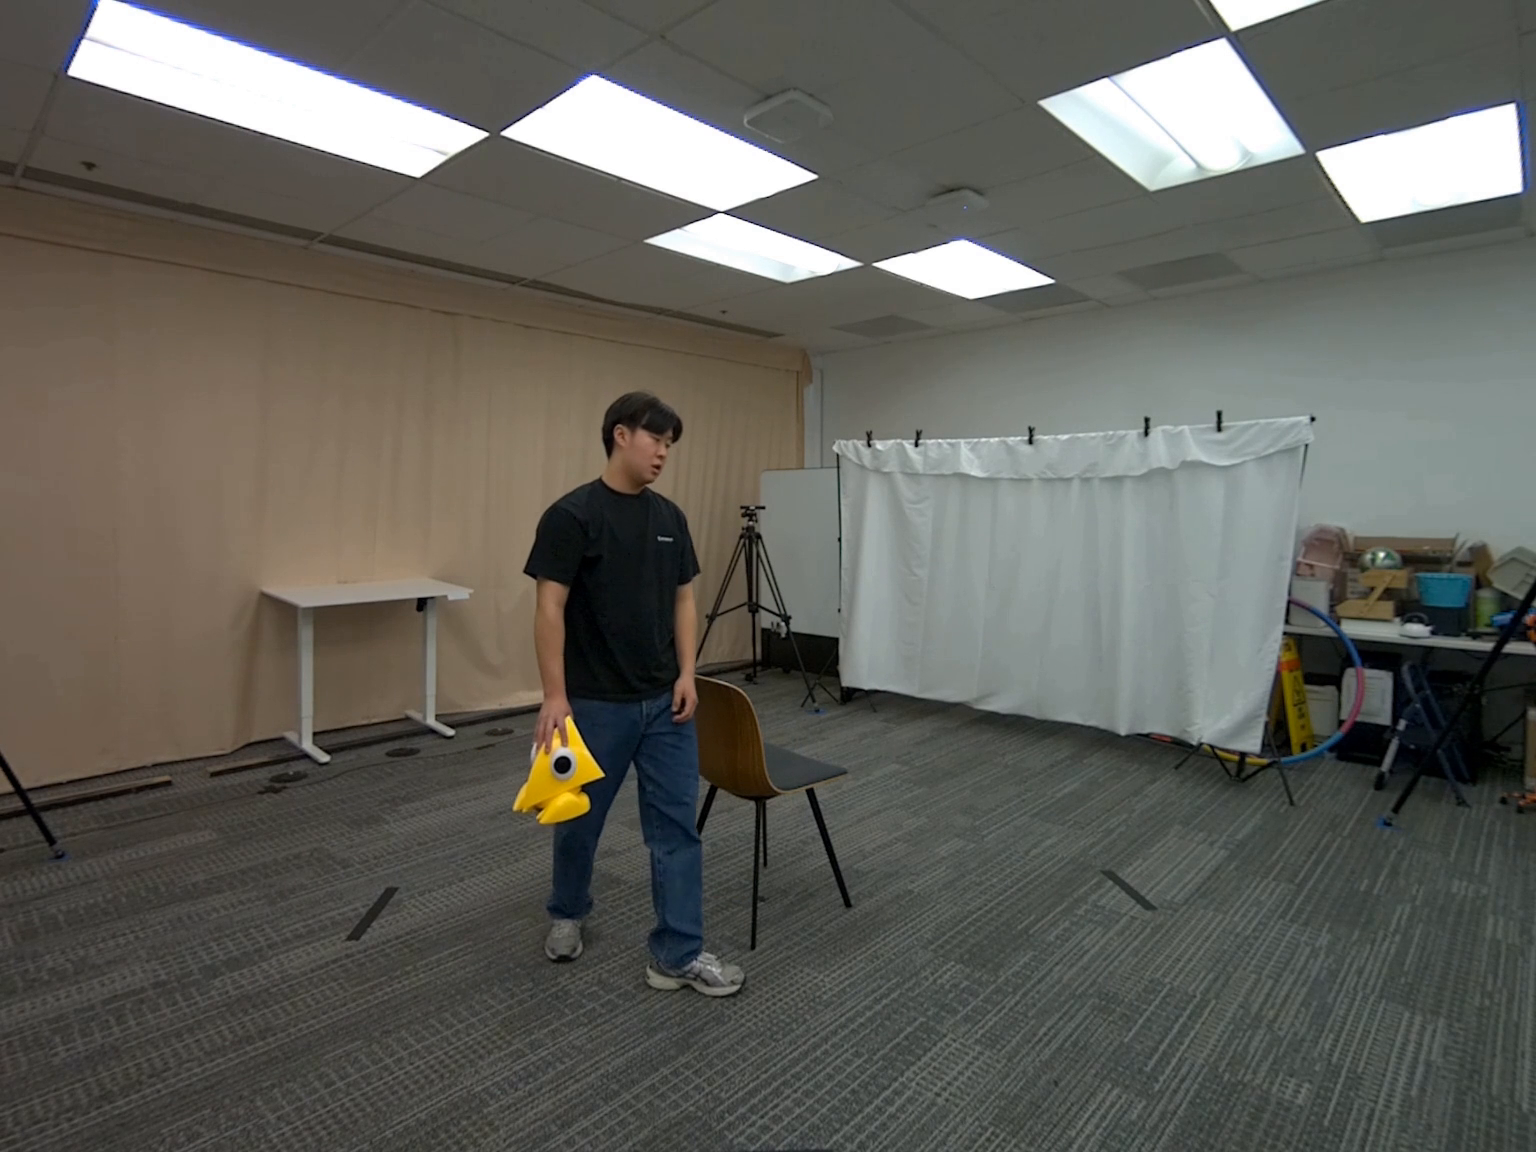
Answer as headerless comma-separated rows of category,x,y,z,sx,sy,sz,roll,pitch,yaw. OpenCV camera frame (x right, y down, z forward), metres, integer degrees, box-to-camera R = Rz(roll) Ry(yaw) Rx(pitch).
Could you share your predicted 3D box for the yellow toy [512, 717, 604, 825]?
yellow toy,-0.563,0.493,2.222,0.211,0.230,0.187,3,9,43
